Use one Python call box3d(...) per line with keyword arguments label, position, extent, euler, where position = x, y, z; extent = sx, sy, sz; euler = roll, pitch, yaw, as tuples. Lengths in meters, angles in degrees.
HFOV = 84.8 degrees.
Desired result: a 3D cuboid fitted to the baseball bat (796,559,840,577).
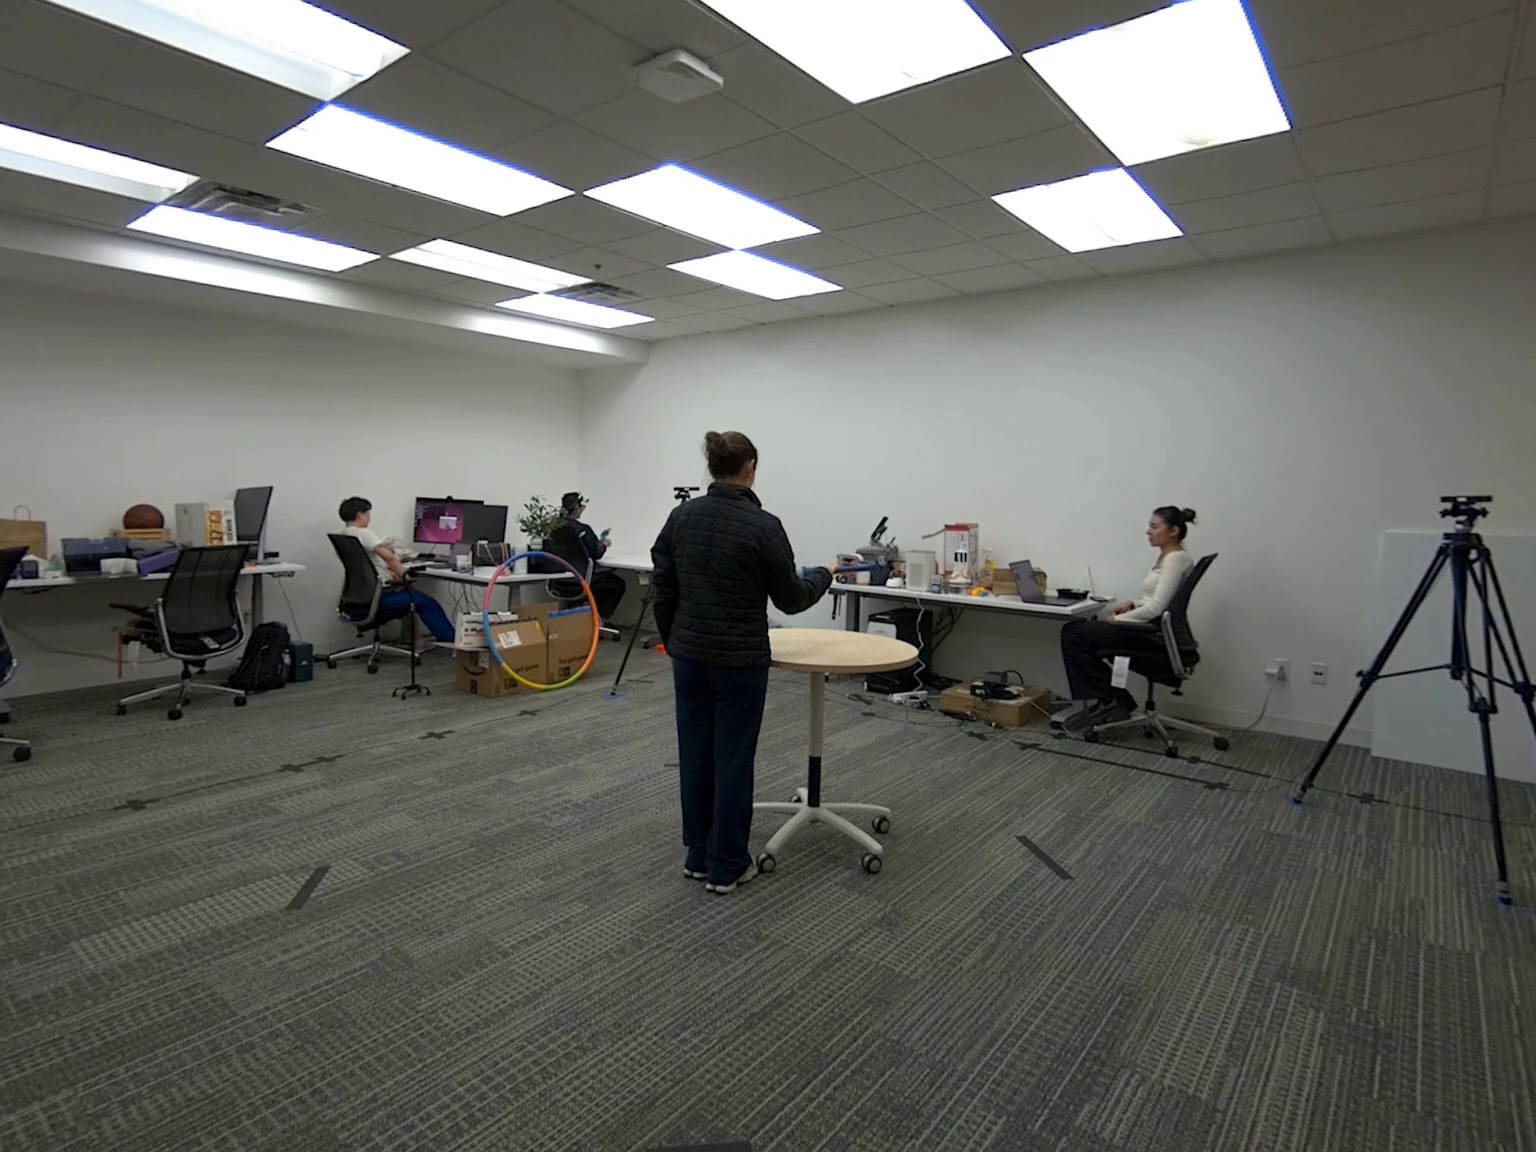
box3d(label="baseball bat", position=(0.206, -0.014, 3.285), extent=(0.539, 0.088, 0.090), euler=(-8, 5, -7))
